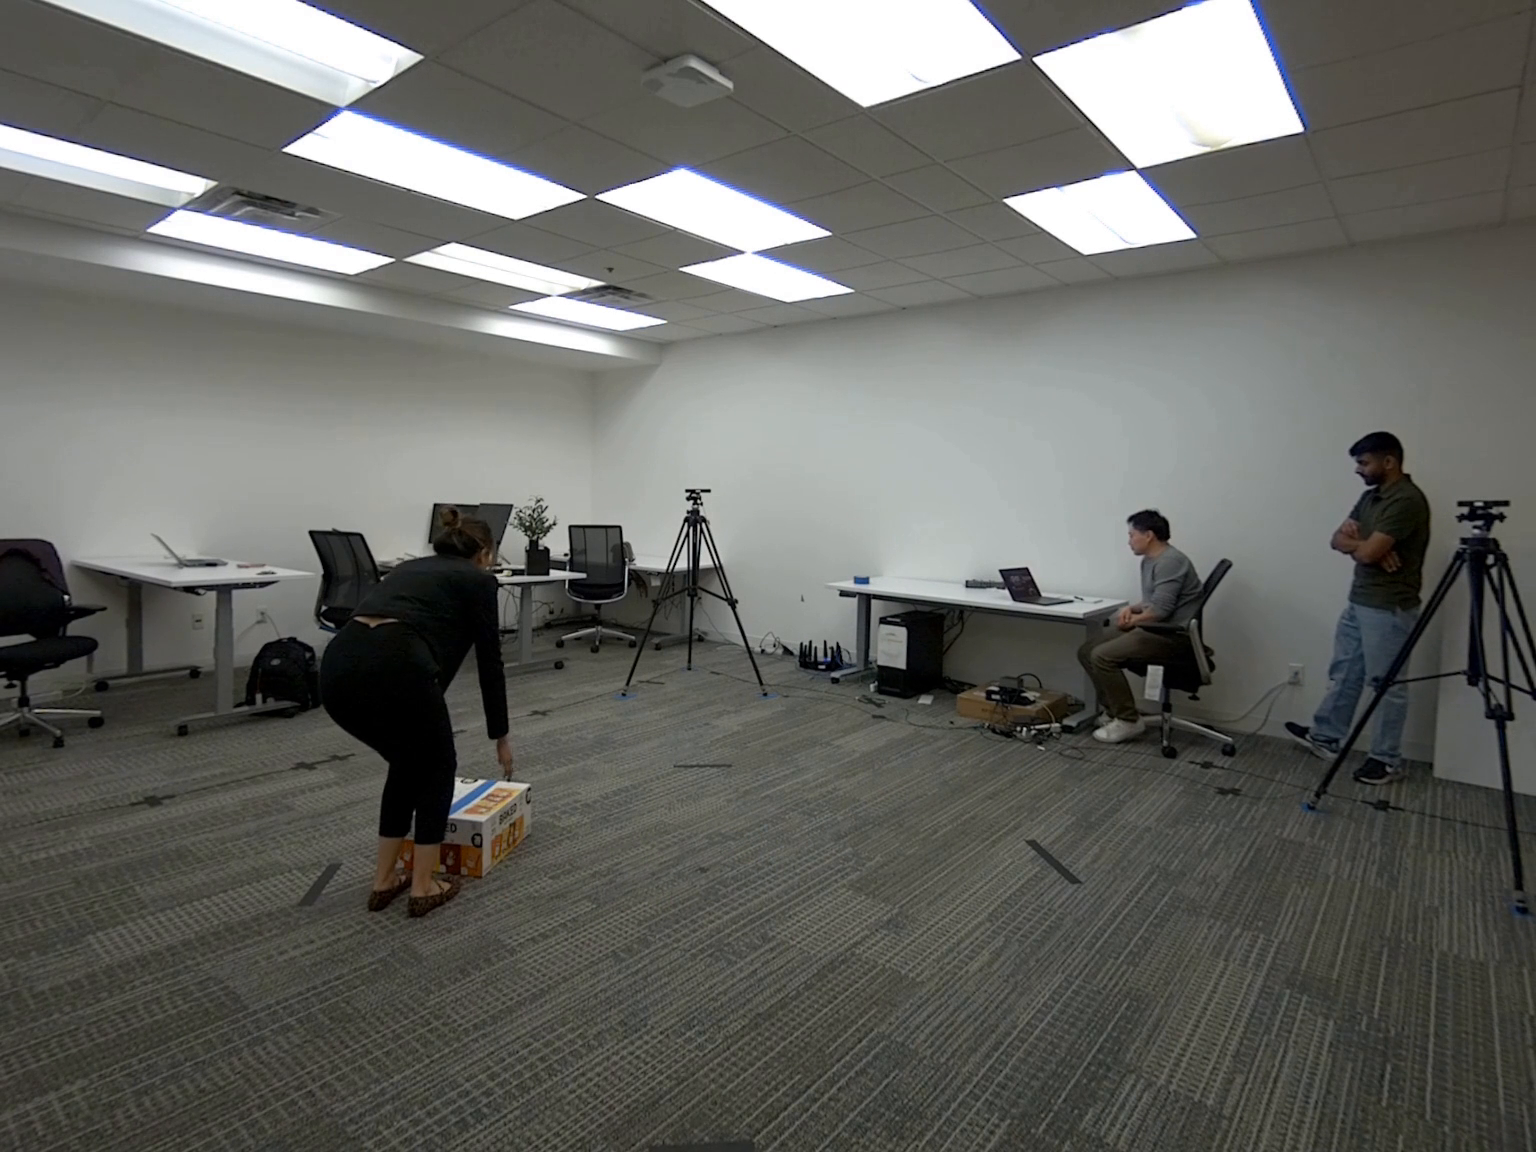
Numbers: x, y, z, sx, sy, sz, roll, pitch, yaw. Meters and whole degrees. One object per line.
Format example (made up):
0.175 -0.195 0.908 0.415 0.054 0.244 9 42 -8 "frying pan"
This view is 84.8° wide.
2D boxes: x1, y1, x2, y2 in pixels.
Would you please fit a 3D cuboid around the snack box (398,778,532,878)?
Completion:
-1.159 0.944 3.239 0.345 0.205 0.402 2 5 10 "snack box"
